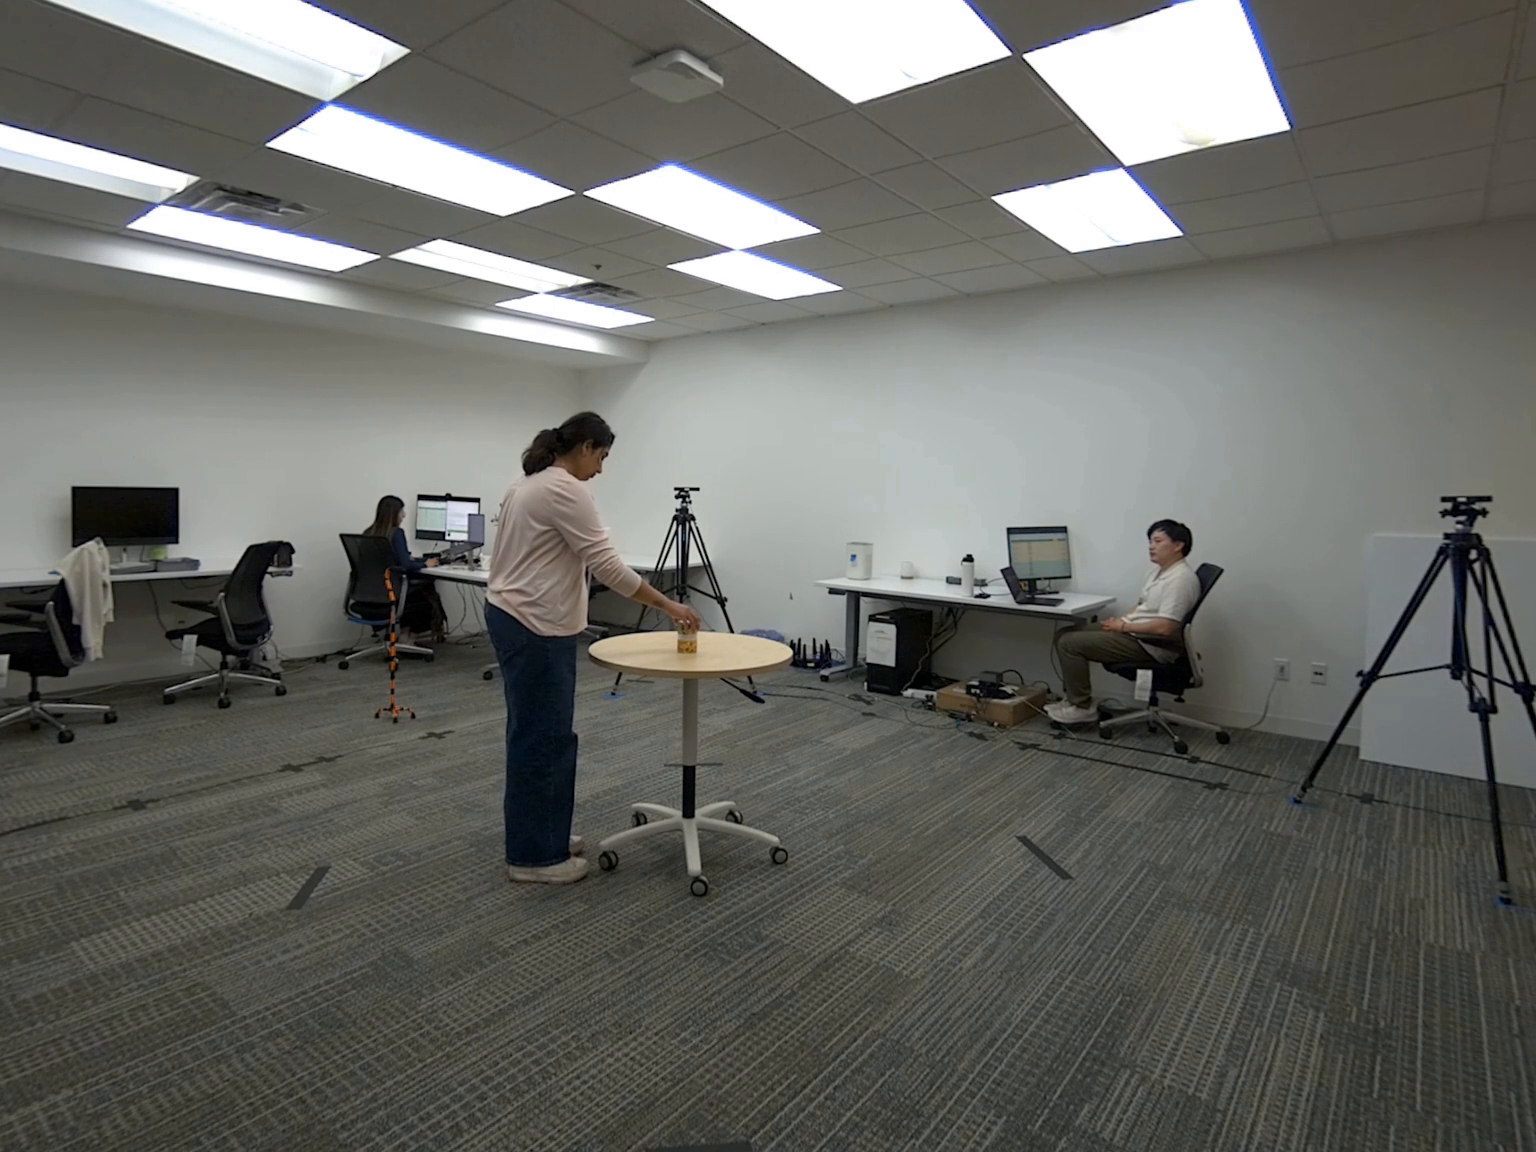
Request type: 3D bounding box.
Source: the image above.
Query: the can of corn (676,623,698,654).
[{"bbox_3d":[-0.312,0.225,3.142,0.074,0.110,0.075,-1,8,-2],"label":"can of corn"}]
